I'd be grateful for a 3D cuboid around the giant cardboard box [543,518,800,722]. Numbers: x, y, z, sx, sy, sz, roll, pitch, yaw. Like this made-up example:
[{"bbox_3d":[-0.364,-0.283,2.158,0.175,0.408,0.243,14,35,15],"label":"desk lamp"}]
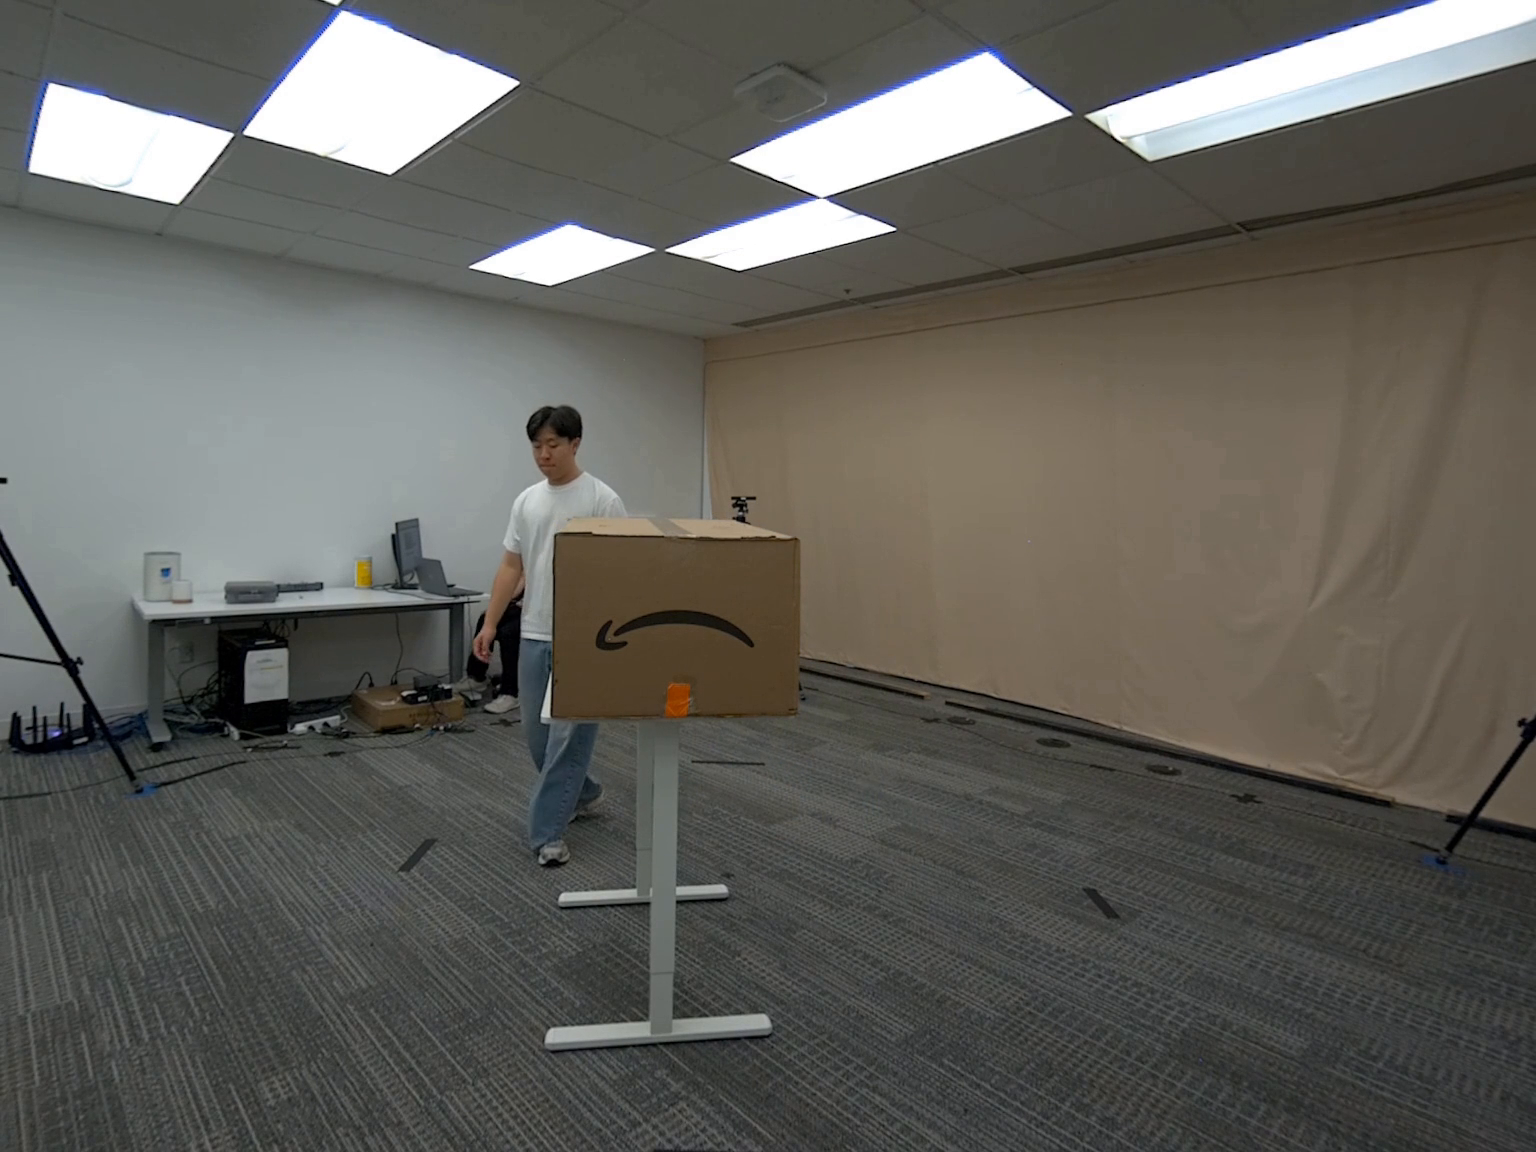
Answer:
[{"bbox_3d":[-0.300,0.069,2.443,0.573,0.425,1.037,2,5,-10],"label":"giant cardboard box"}]
